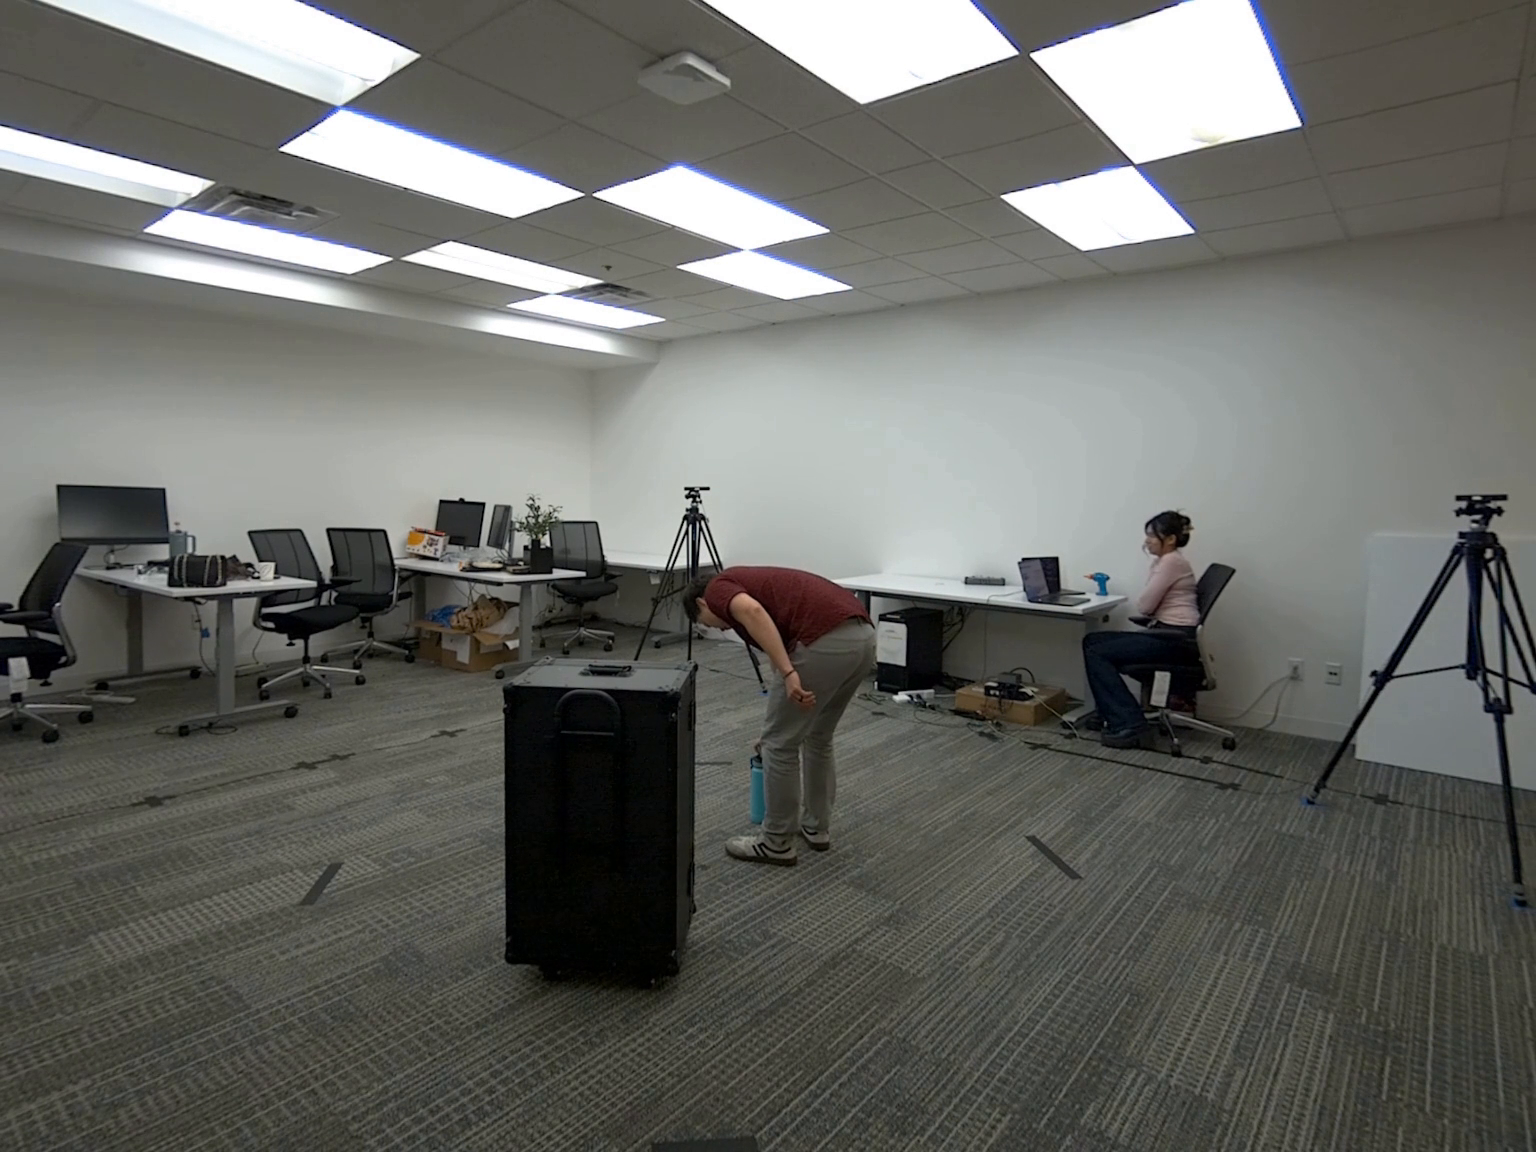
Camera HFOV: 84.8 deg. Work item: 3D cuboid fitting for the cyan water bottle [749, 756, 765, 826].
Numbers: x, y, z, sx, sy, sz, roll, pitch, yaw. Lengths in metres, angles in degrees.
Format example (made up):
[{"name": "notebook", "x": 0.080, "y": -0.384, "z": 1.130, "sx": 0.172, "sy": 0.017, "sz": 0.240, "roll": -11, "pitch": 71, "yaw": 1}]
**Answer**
[{"name": "cyan water bottle", "x": -0.043, "y": 0.877, "z": 3.563, "sx": 0.092, "sy": 0.282, "sz": 0.093, "roll": 0, "pitch": 6, "yaw": -2}]
